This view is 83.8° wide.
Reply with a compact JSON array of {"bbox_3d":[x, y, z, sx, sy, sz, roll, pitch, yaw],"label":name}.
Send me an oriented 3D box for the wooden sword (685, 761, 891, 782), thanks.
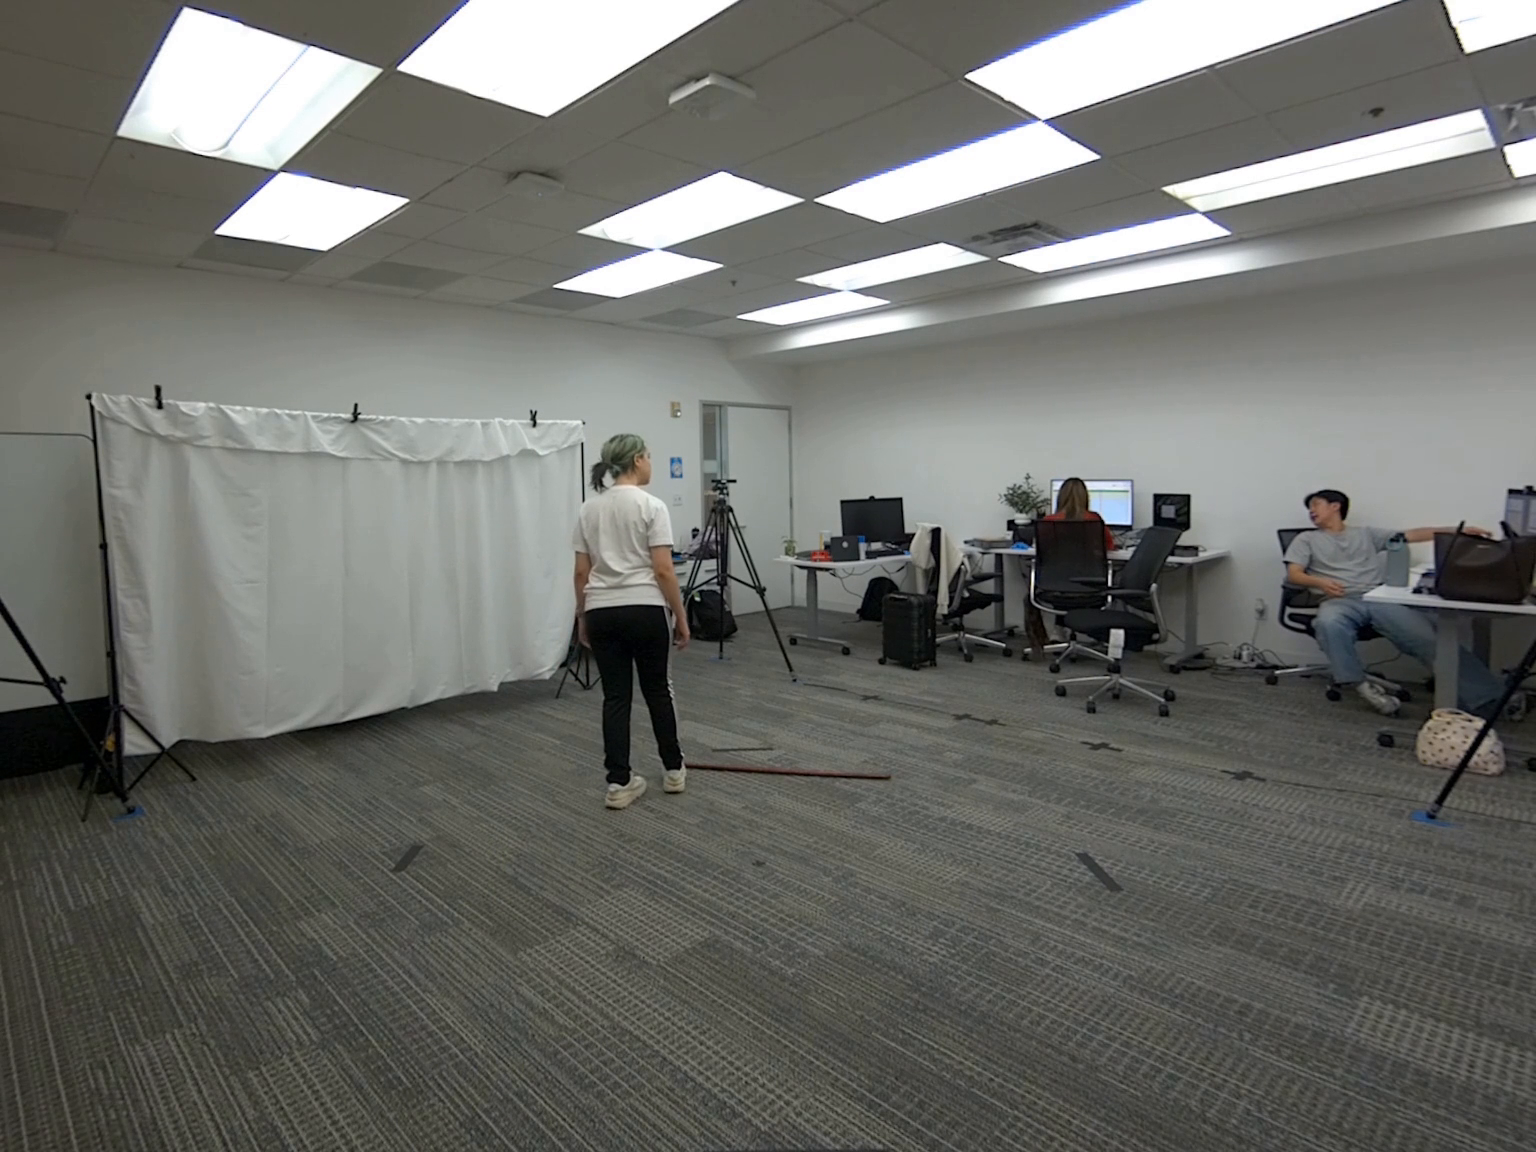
[{"bbox_3d":[0.045,0.907,4.042,1.038,0.024,0.051,0,14,14],"label":"wooden sword"}]
